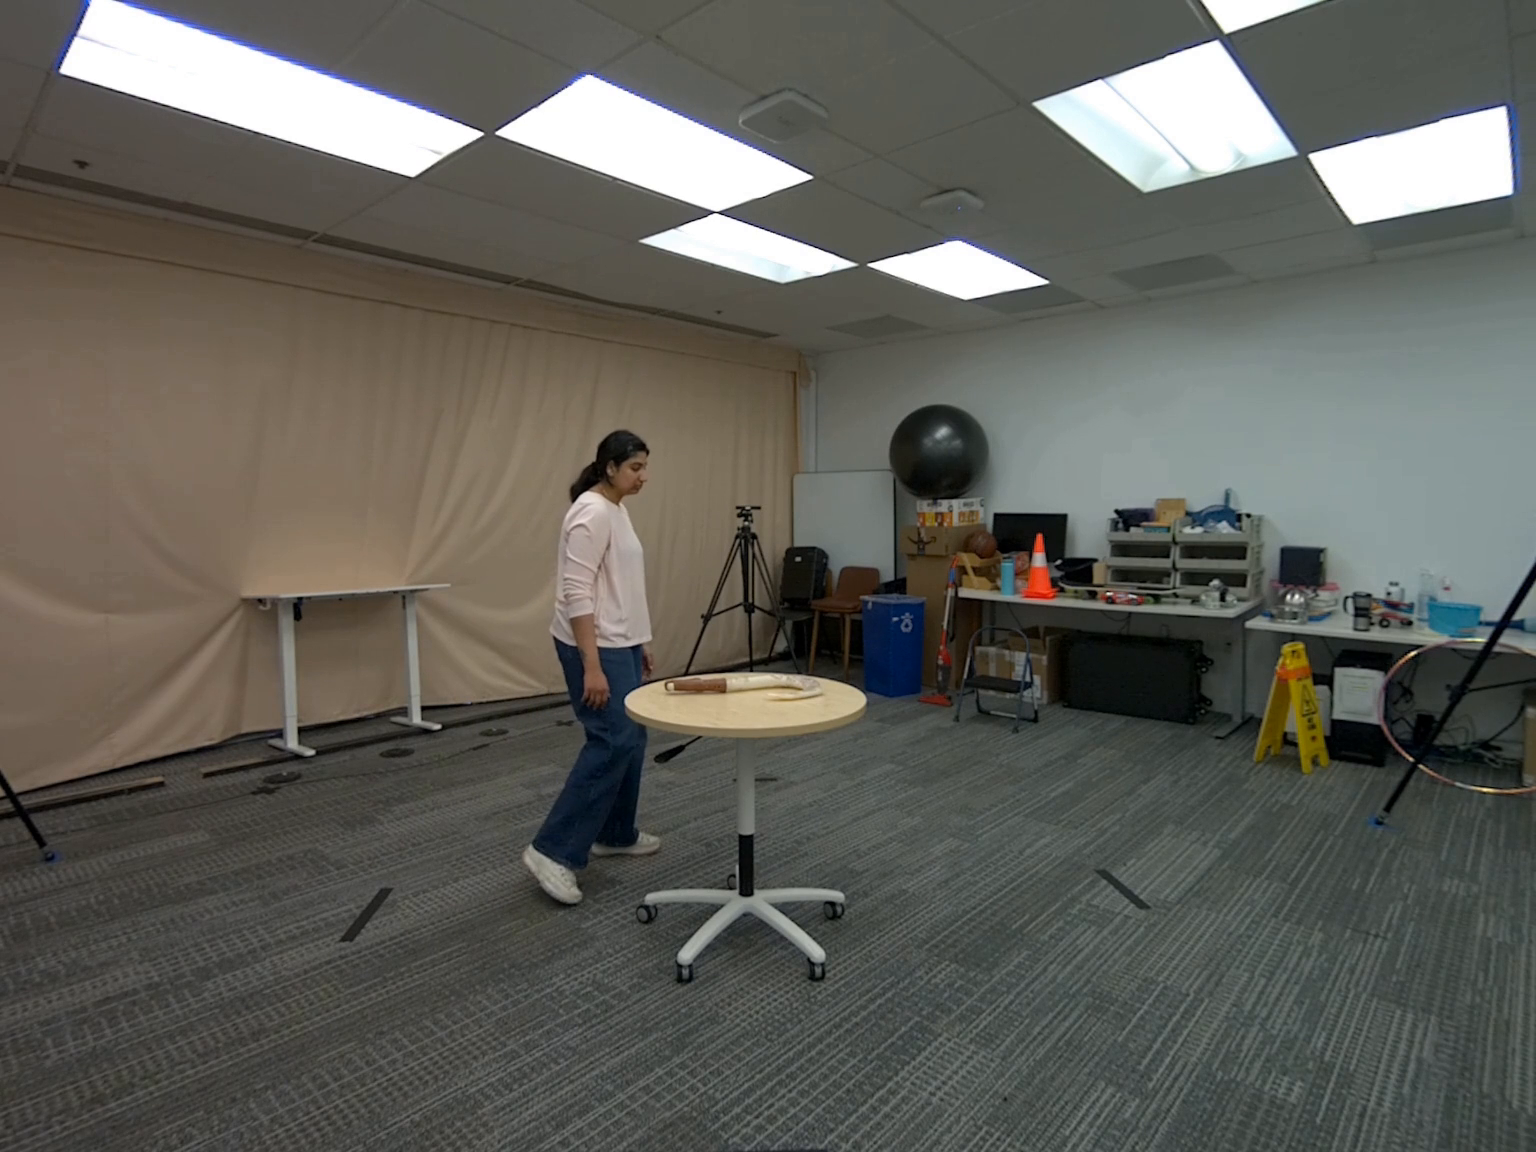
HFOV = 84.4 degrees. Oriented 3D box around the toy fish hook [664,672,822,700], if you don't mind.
[{"bbox_3d":[-0.084,0.360,2.707,0.503,0.048,0.226,0,0,-6],"label":"toy fish hook"}]
